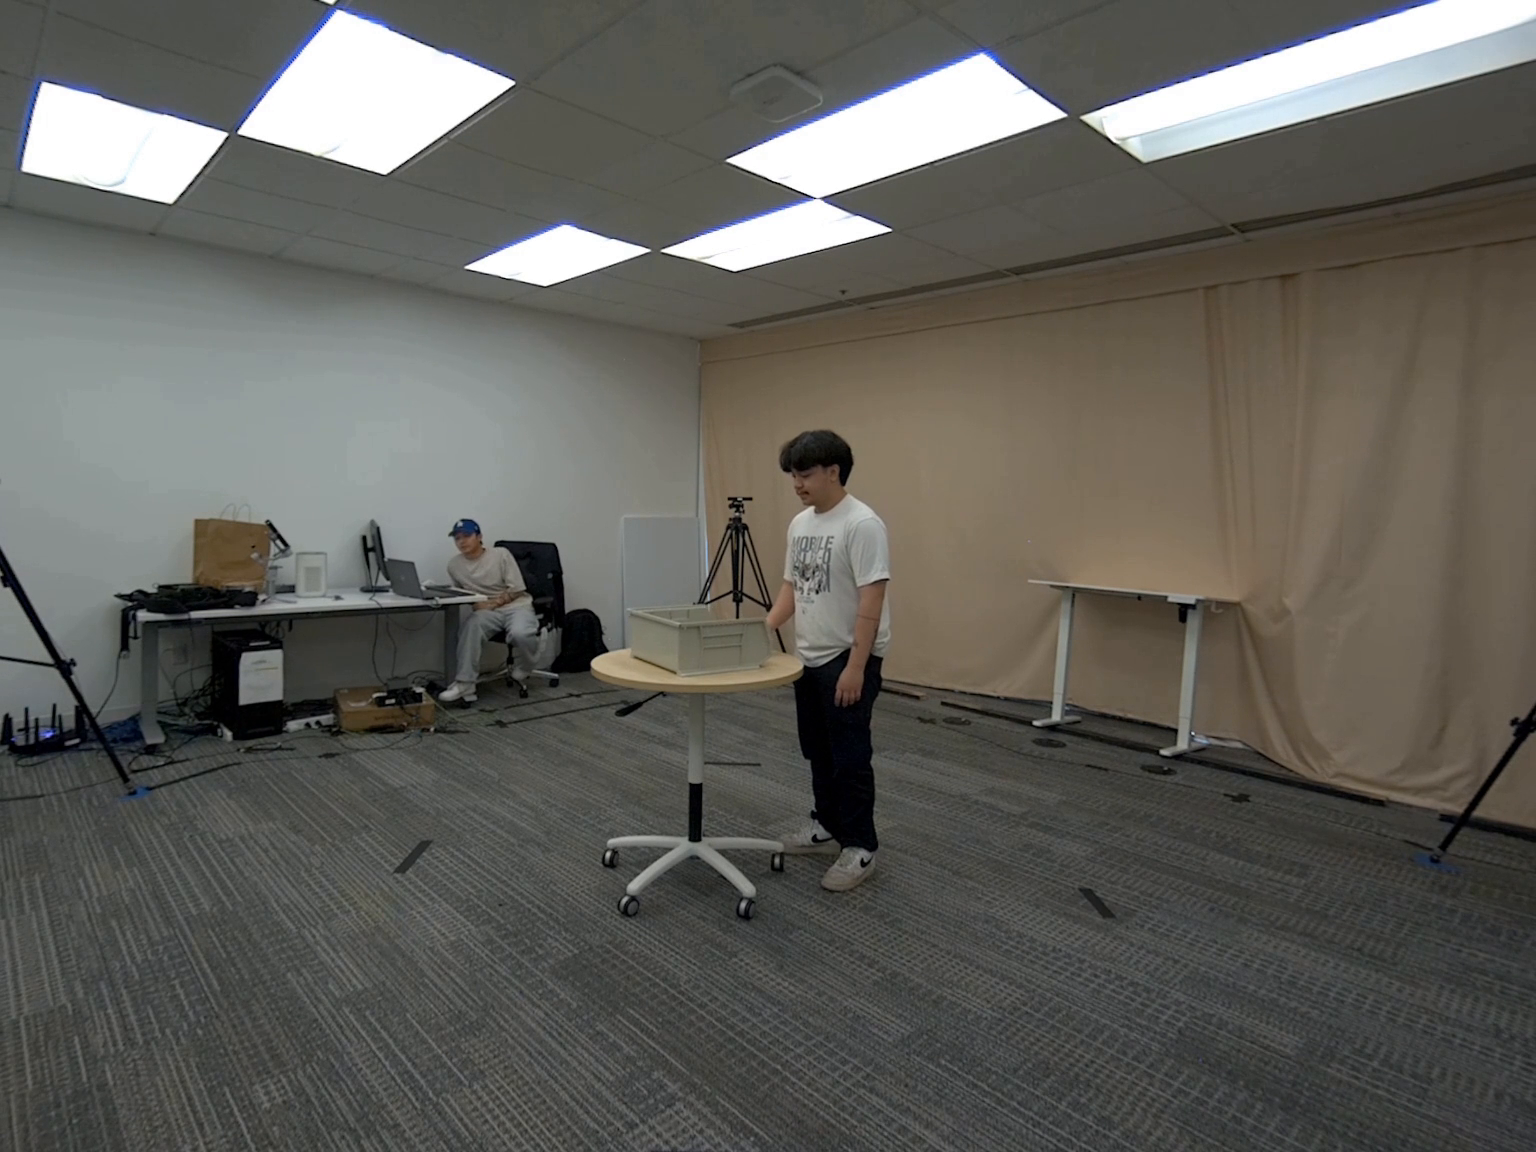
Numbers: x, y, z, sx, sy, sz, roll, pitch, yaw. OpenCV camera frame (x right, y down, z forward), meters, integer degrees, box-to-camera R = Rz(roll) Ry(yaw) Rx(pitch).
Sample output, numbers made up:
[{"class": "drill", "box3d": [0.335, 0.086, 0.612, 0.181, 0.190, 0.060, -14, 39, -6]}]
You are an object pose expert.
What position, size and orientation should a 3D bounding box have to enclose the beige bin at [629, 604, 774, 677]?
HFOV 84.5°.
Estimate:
[{"class": "beige bin", "box3d": [-0.260, 0.221, 3.038, 0.370, 0.188, 0.433, -3, 7, -32]}]
